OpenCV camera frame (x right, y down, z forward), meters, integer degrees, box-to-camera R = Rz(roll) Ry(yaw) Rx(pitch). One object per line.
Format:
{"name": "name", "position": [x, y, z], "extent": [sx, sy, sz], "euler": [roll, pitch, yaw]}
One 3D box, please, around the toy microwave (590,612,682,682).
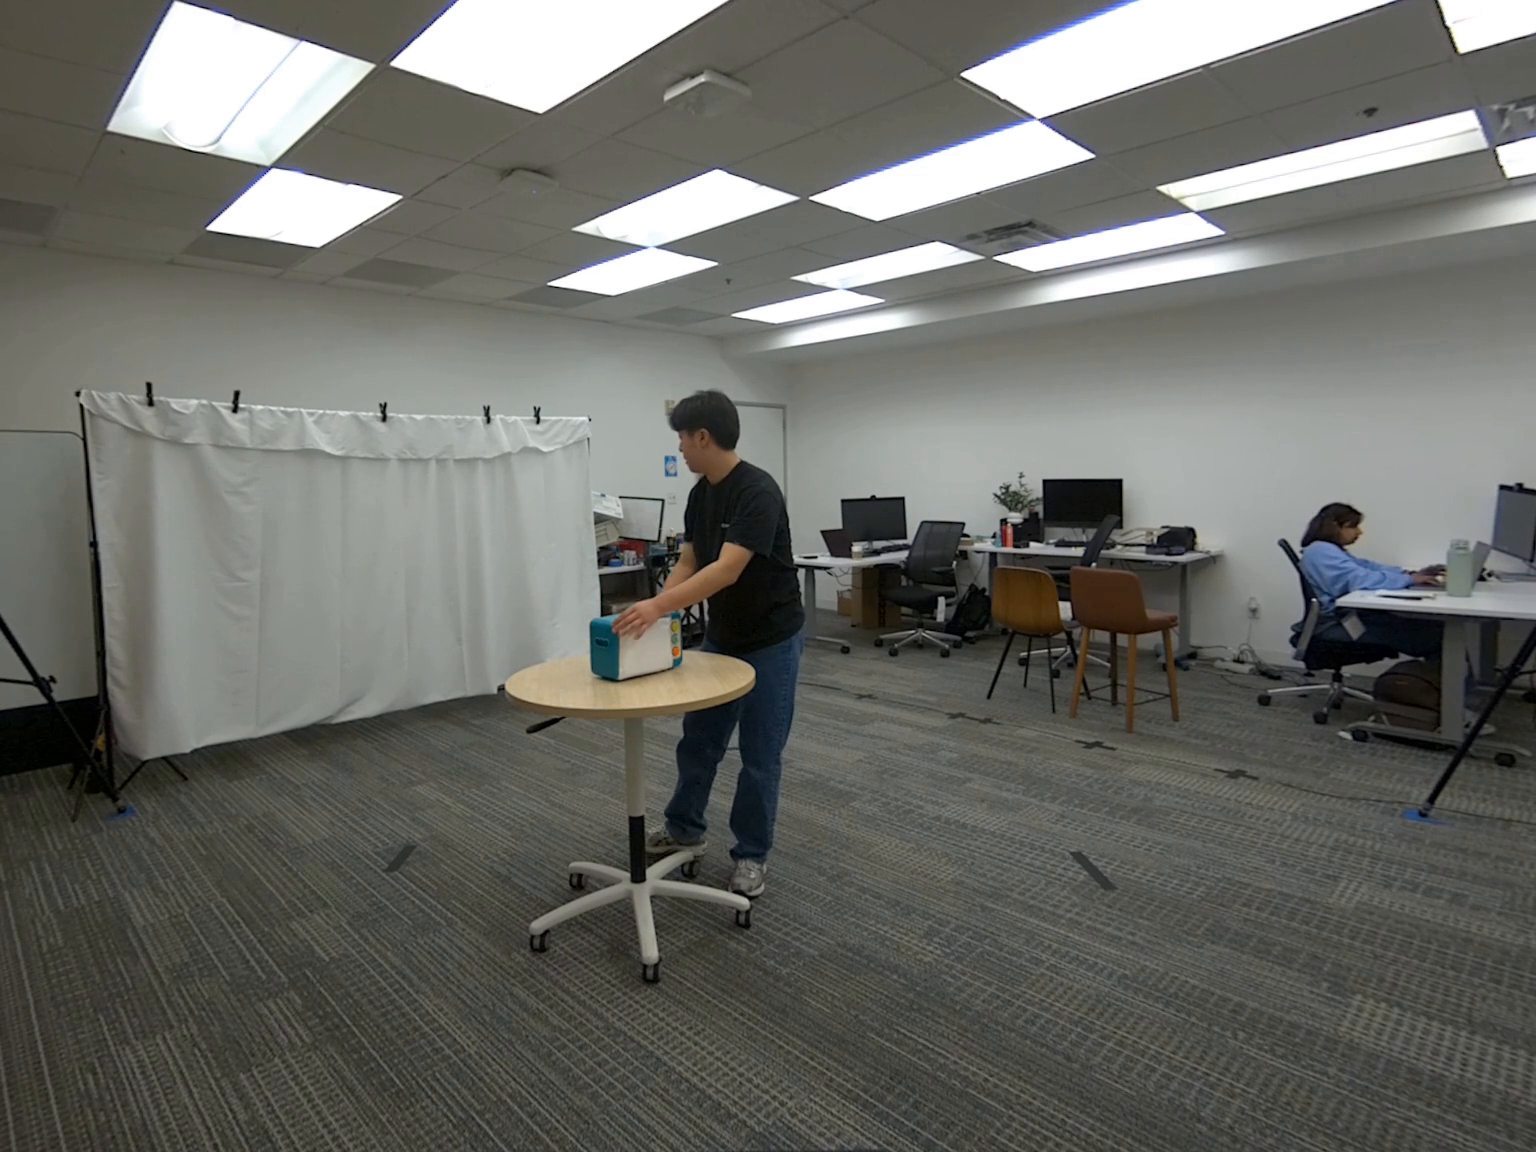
{"name": "toy microwave", "position": [-0.401, 0.212, 2.669], "extent": [0.157, 0.183, 0.279], "euler": [3, 7, 42]}
